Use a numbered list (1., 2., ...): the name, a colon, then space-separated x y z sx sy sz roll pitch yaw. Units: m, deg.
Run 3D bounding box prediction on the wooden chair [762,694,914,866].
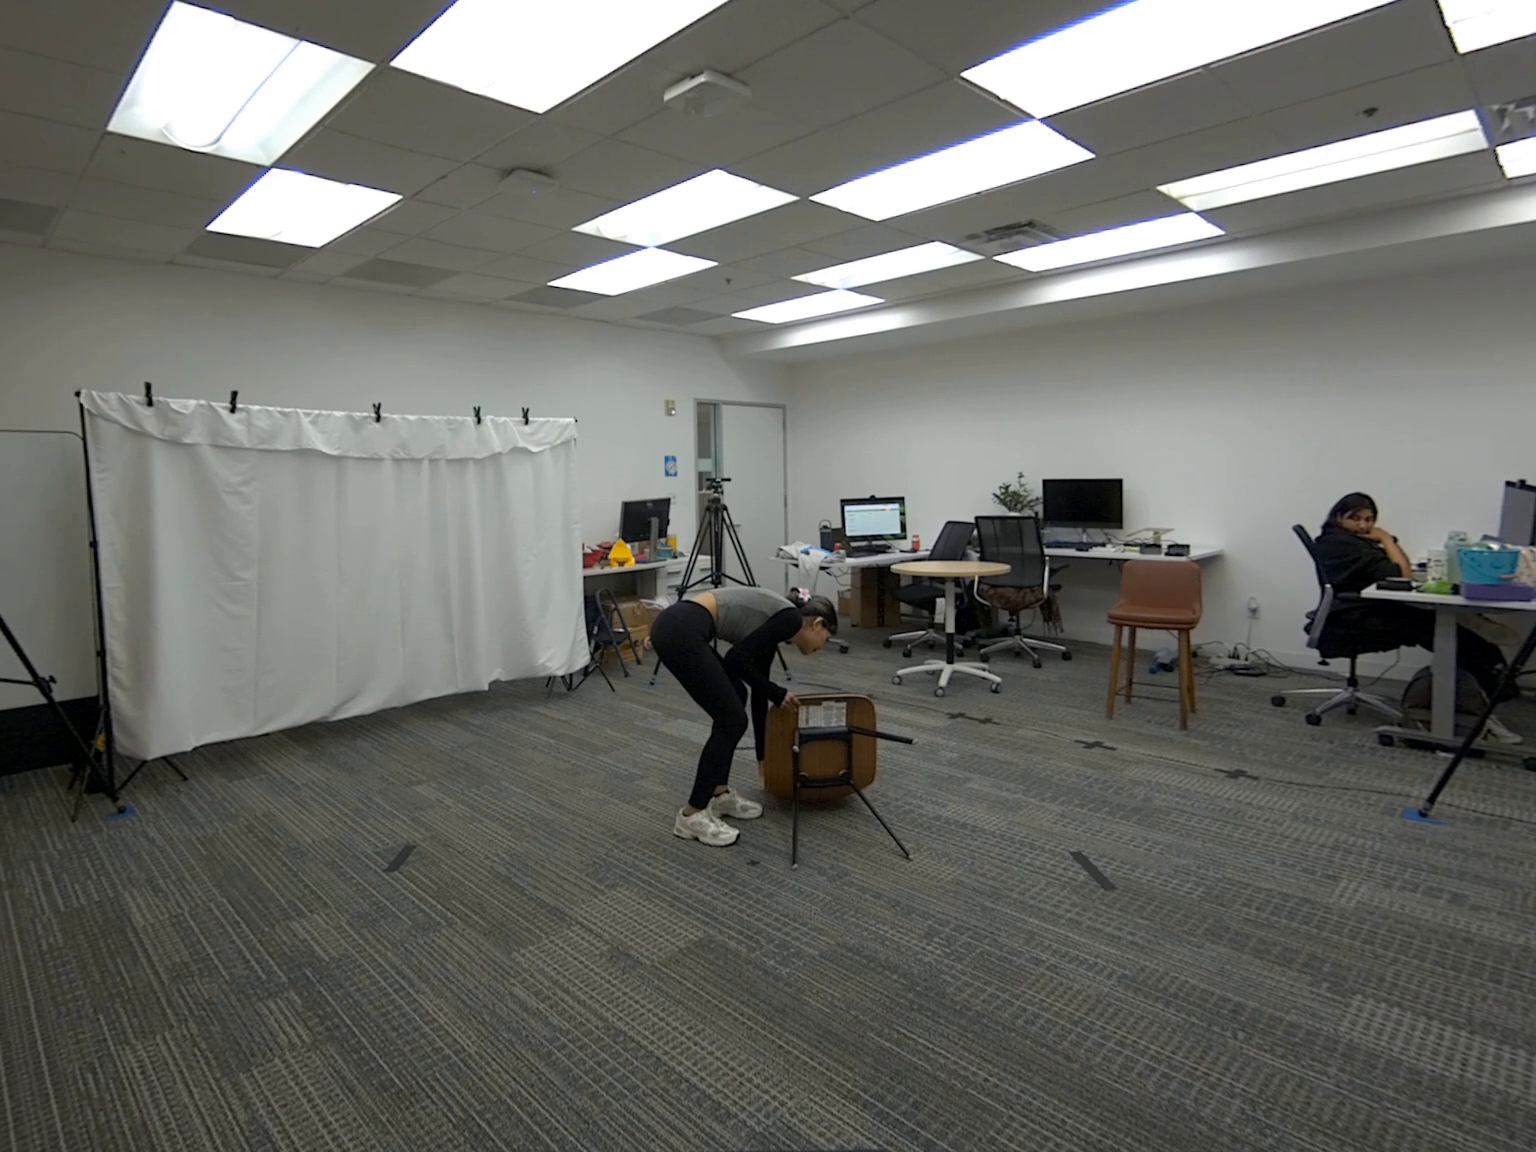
1. wooden chair: 0.234 0.738 3.460 0.474 0.521 0.888 -1 4 -10
